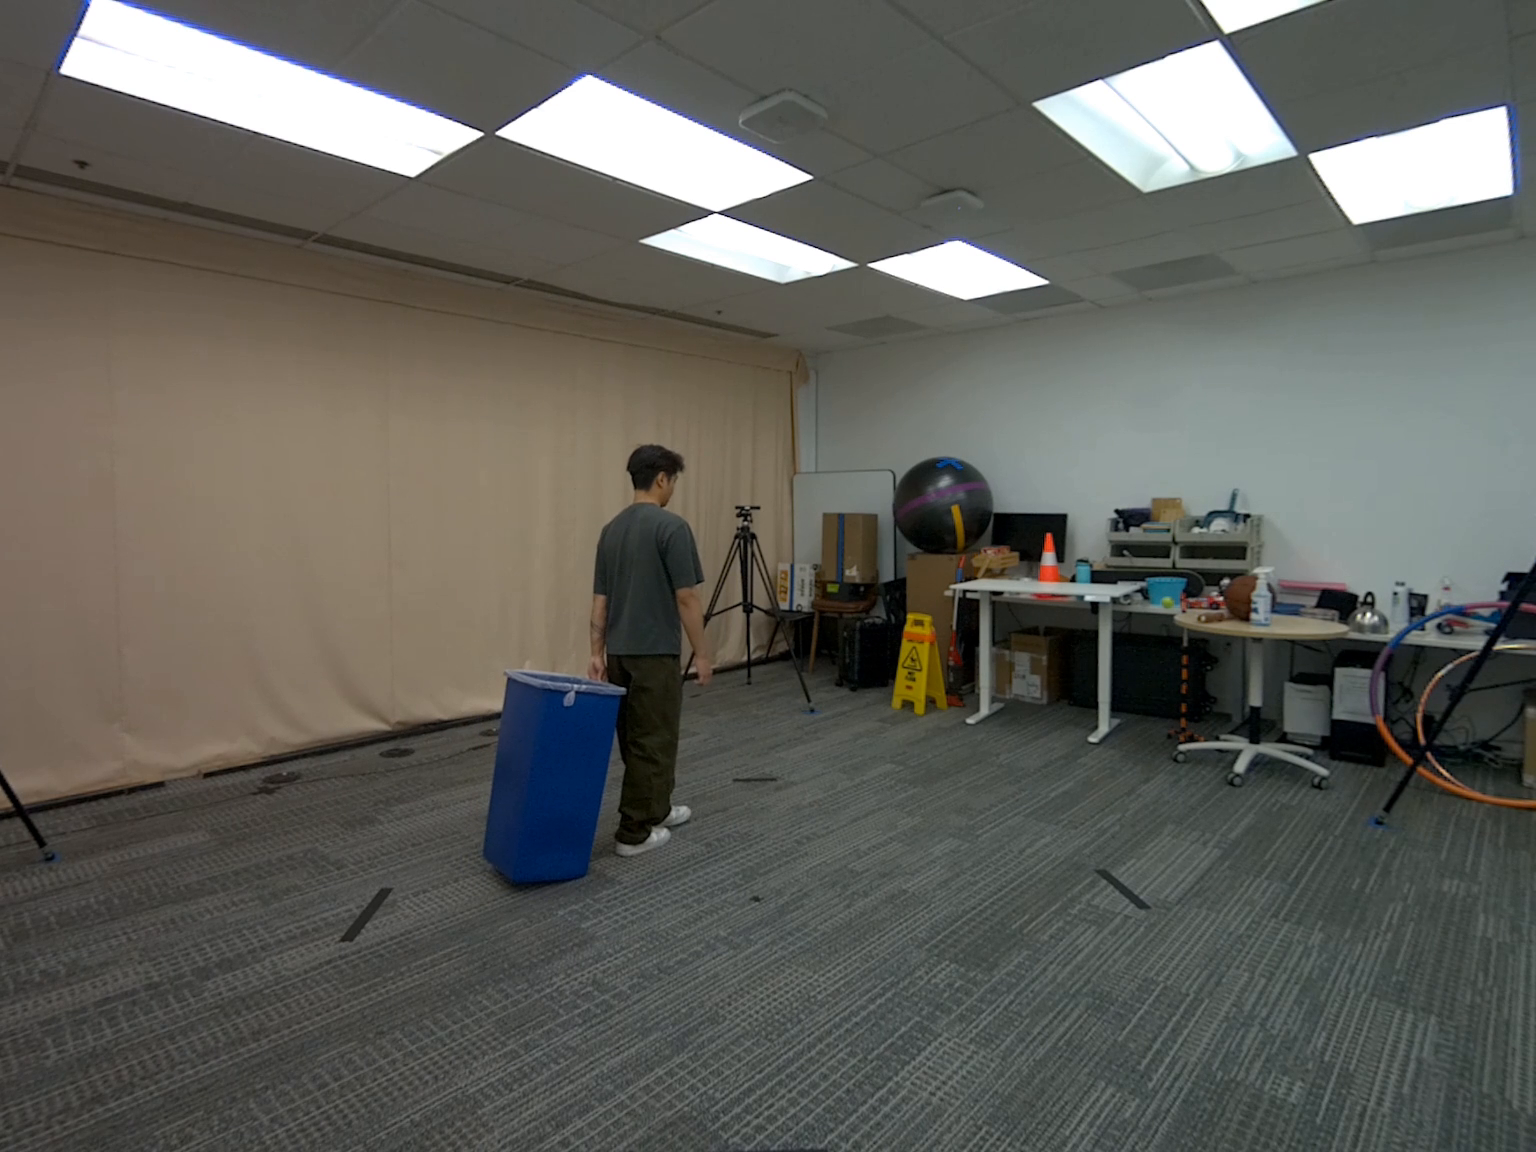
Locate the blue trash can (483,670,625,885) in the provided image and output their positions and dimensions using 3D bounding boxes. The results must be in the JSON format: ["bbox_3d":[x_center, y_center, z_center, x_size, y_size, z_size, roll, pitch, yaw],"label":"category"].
[{"bbox_3d":[-0.845,0.750,3.235,0.365,0.715,0.386,13,-6,-40],"label":"blue trash can"}]
